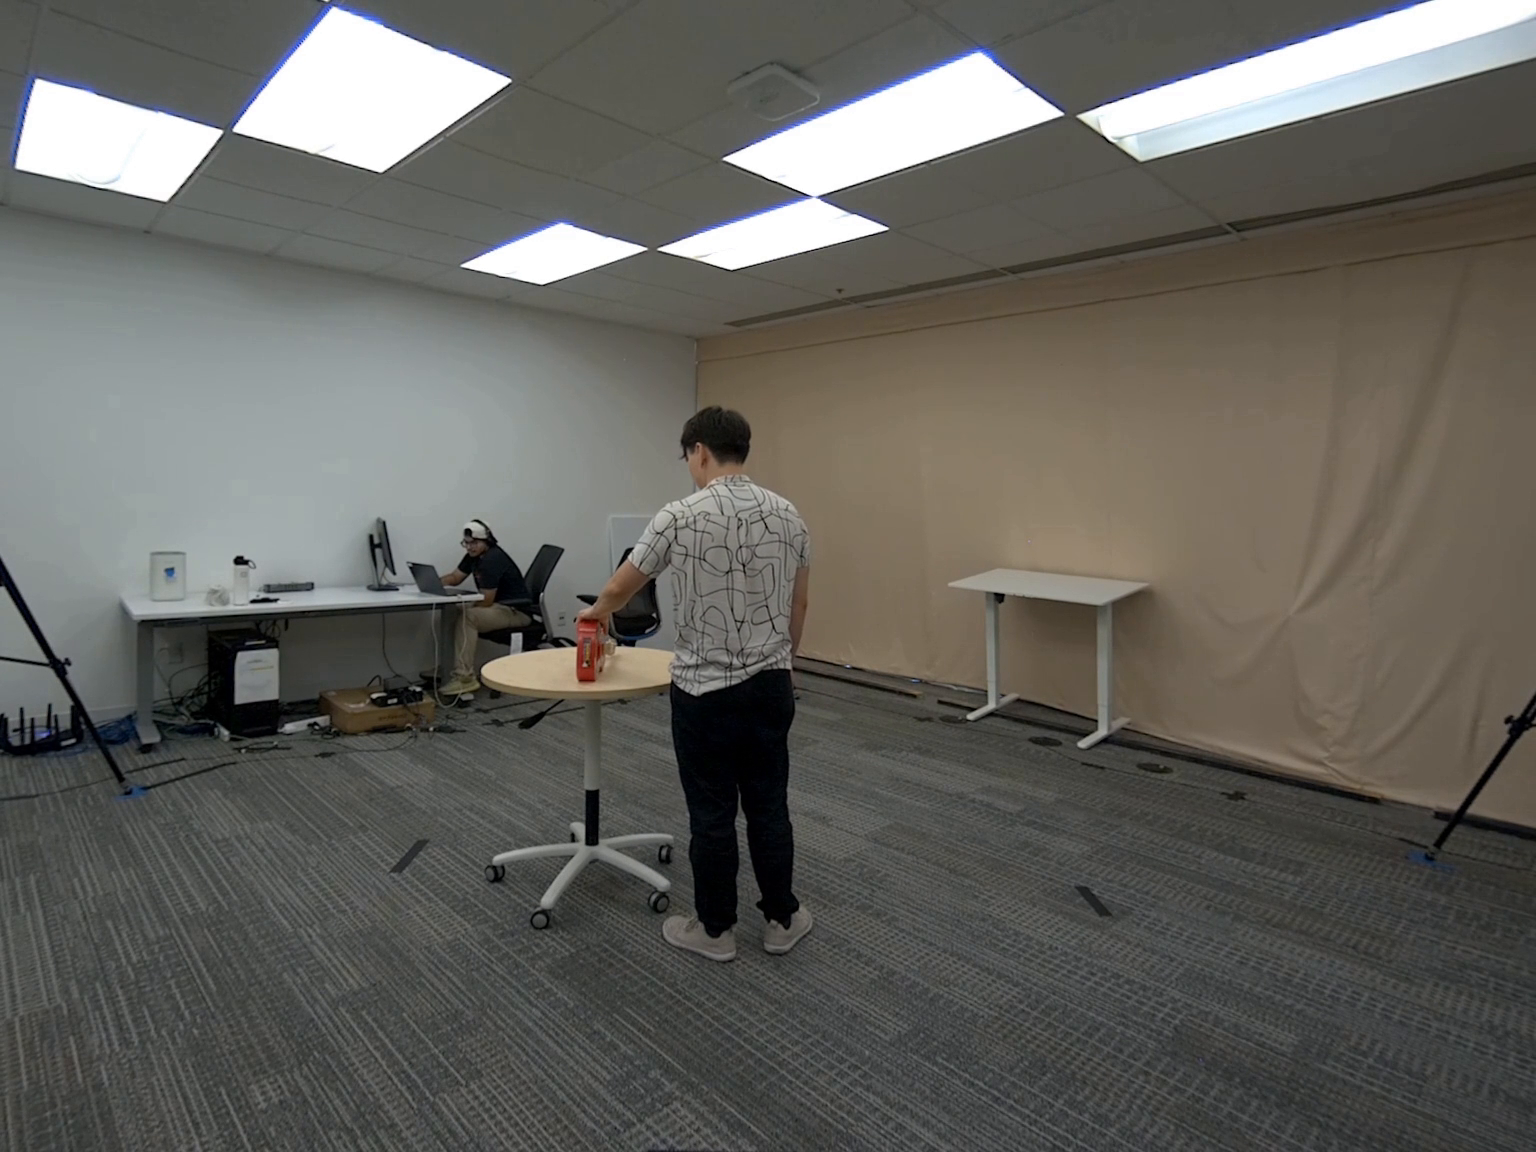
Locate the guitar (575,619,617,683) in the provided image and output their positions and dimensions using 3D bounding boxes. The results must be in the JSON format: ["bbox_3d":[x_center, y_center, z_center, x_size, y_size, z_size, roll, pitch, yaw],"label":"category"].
[{"bbox_3d":[-0.603,0.285,2.931,0.071,0.195,0.493,1,-13,-2],"label":"guitar"}]
